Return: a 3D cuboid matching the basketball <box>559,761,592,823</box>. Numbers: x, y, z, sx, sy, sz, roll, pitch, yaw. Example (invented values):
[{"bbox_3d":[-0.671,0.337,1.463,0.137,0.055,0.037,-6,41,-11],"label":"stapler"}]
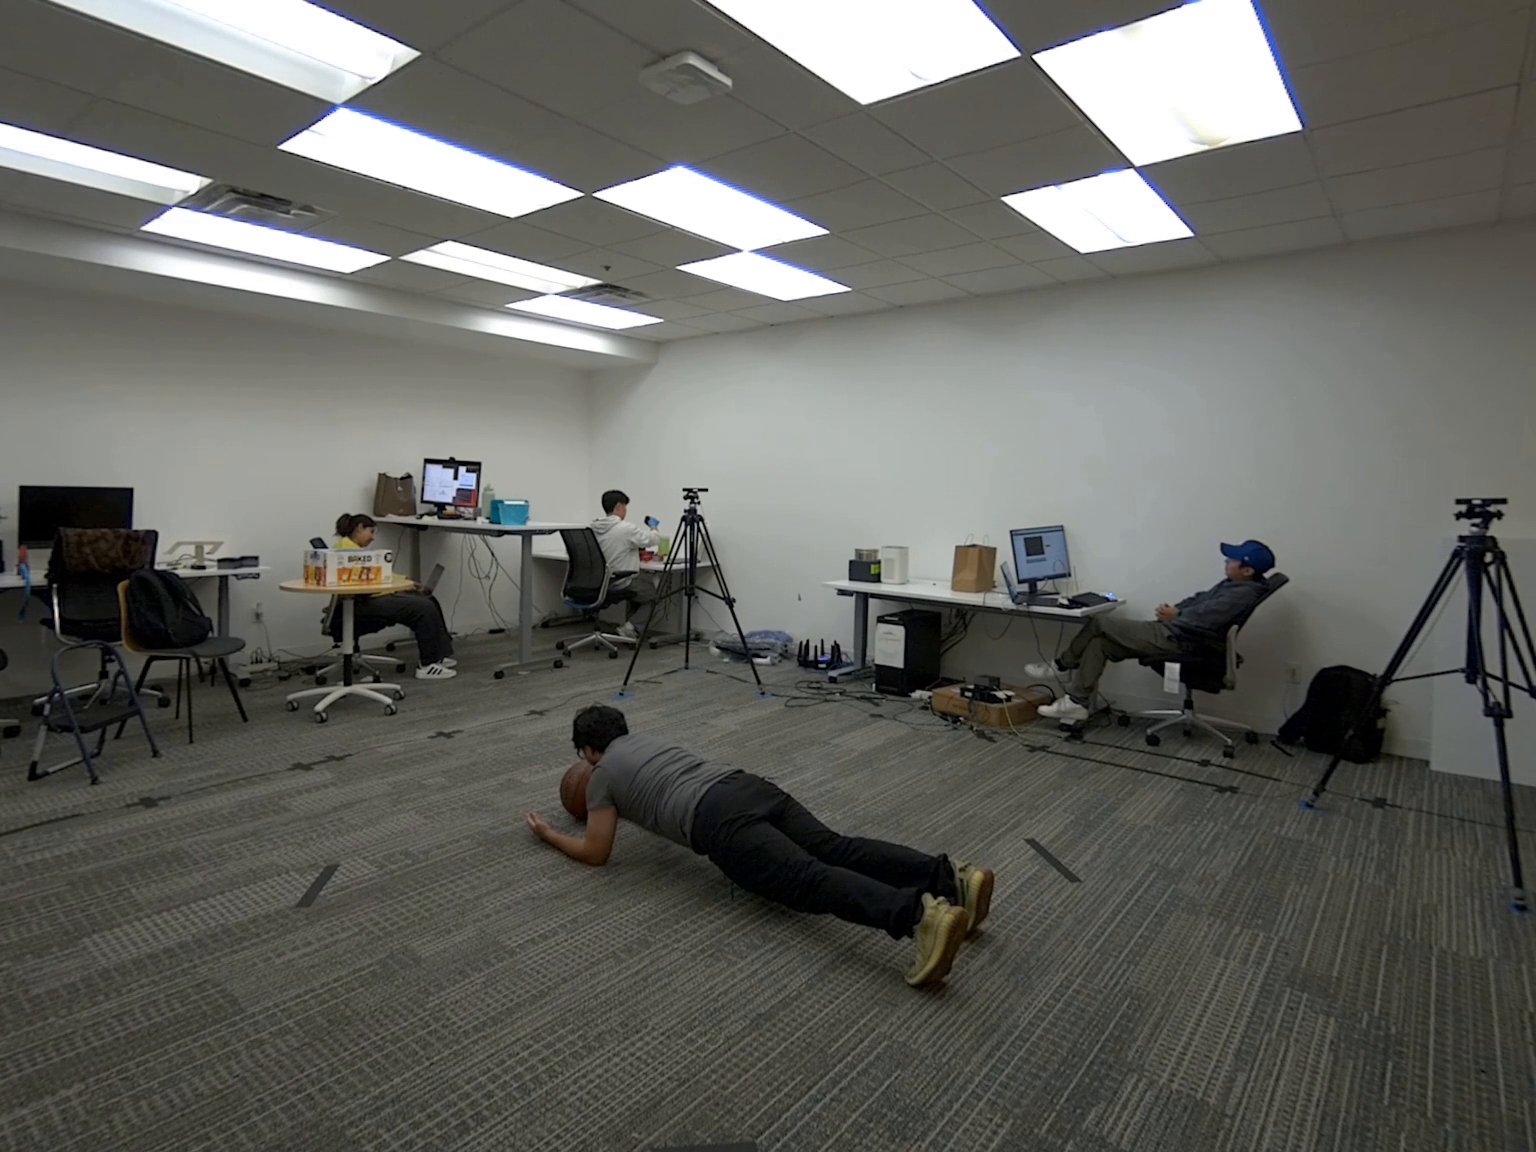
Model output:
[{"bbox_3d":[-0.767,0.891,3.564,0.235,0.235,0.237,1,4,-2],"label":"basketball"}]
